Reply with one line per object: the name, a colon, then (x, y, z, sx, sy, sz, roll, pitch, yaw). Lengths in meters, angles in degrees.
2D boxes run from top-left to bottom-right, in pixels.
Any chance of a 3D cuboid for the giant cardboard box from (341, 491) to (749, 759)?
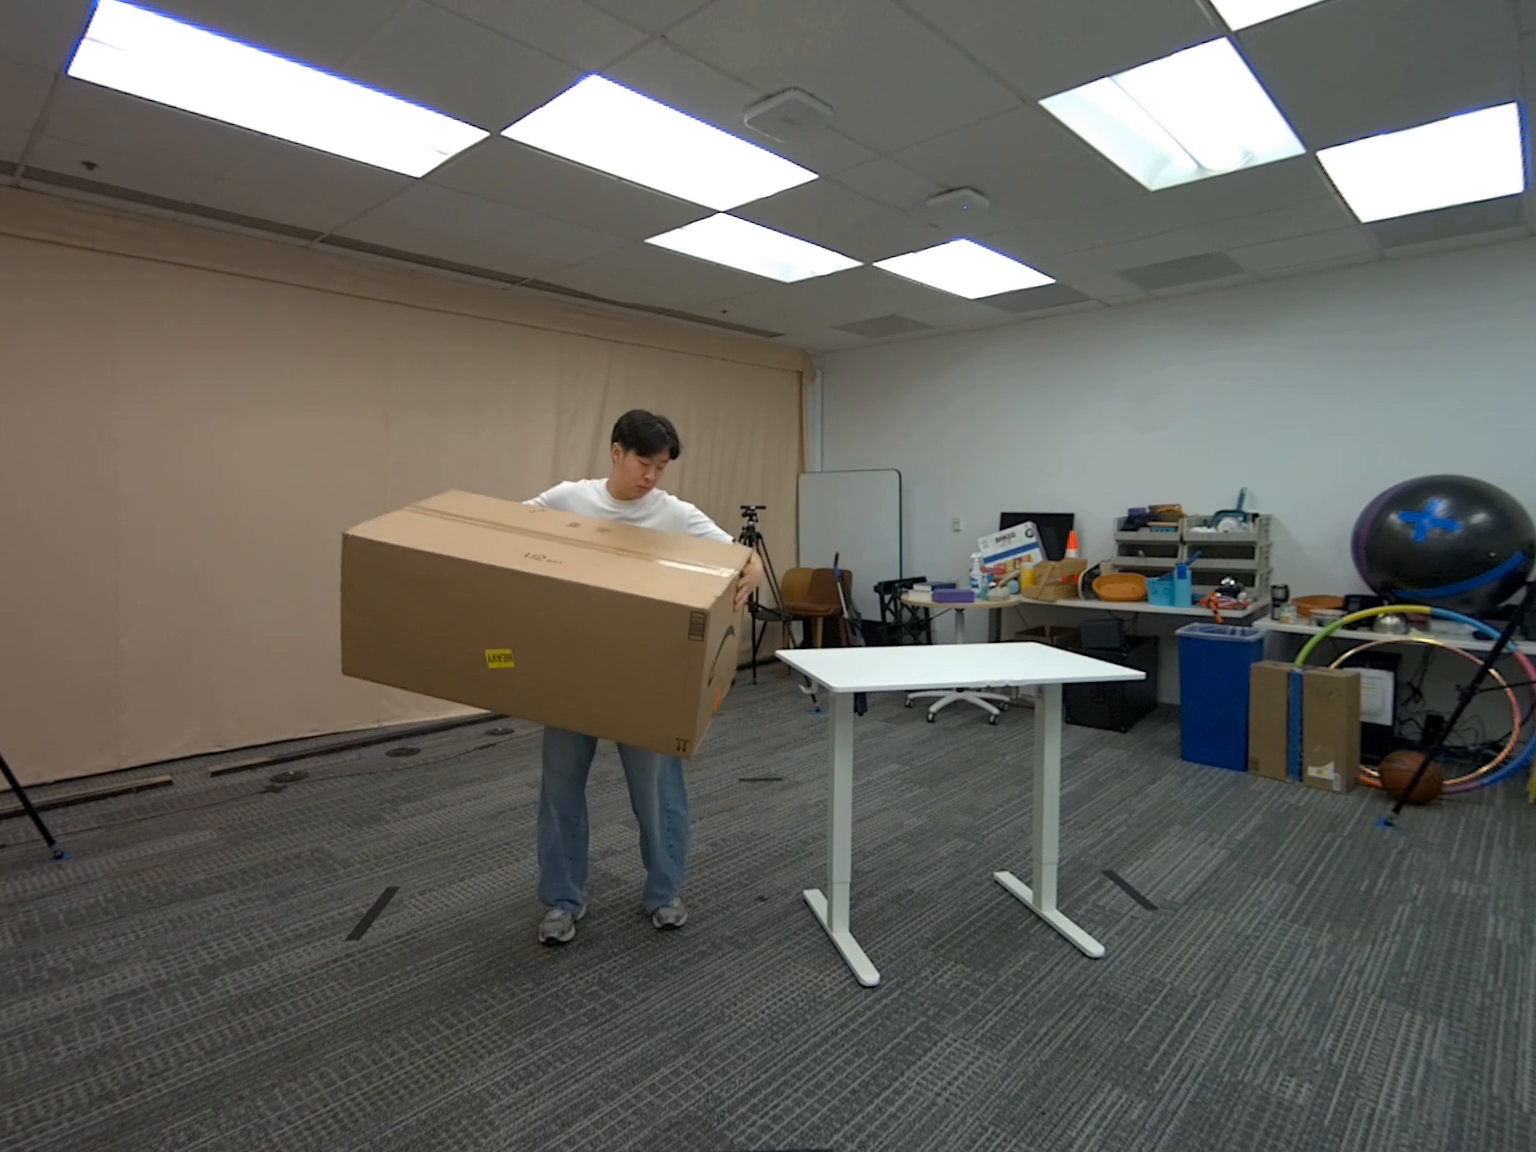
giant cardboard box: (-0.611, 0.103, 2.464, 1.039, 0.423, 0.575, 11, 17, 10)
